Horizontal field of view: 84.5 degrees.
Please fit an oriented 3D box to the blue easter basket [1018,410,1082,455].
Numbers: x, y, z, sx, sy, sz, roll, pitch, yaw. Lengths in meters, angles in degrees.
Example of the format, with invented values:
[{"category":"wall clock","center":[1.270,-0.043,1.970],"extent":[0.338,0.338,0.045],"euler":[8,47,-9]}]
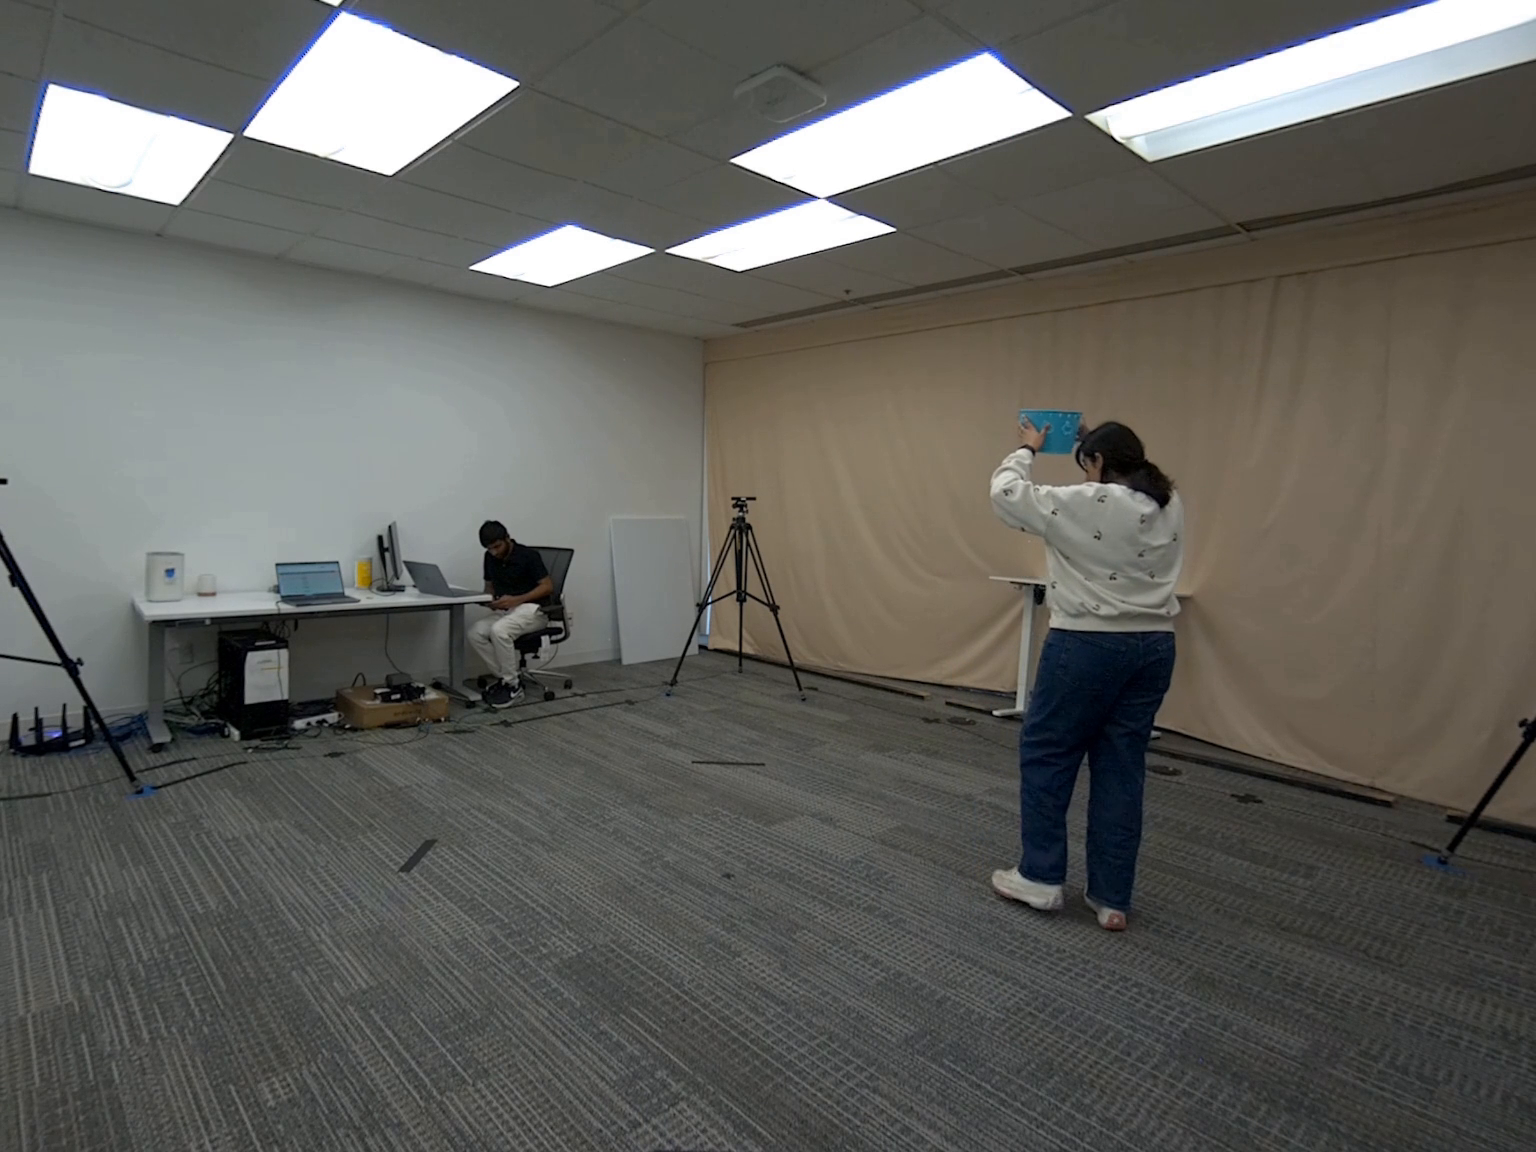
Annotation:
[{"category":"blue easter basket","center":[1.055,-0.540,3.148],"extent":[0.243,0.155,0.245],"euler":[4,8,-2]}]
